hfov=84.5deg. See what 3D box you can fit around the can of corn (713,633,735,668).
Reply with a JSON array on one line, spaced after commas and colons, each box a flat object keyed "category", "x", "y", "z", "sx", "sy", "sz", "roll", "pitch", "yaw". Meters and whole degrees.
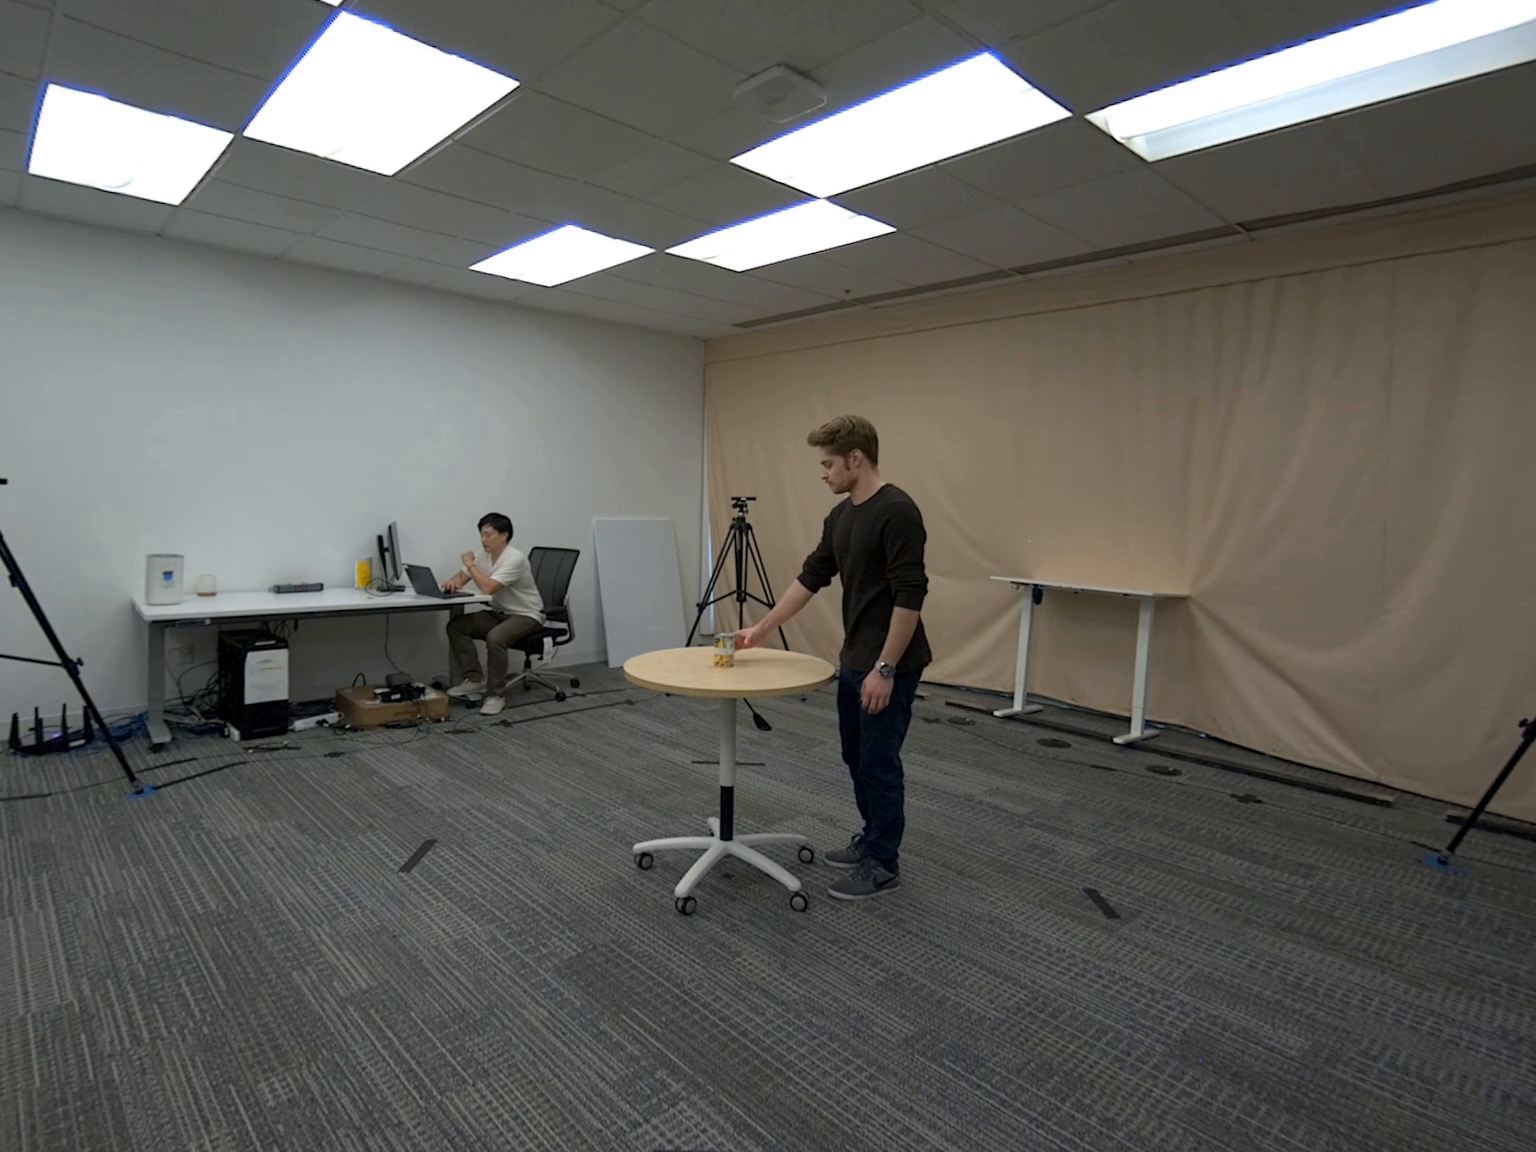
[{"category": "can of corn", "x": -0.164, "y": 0.268, "z": 3.059, "sx": 0.074, "sy": 0.111, "sz": 0.074, "roll": 0, "pitch": 1, "yaw": -1}]
